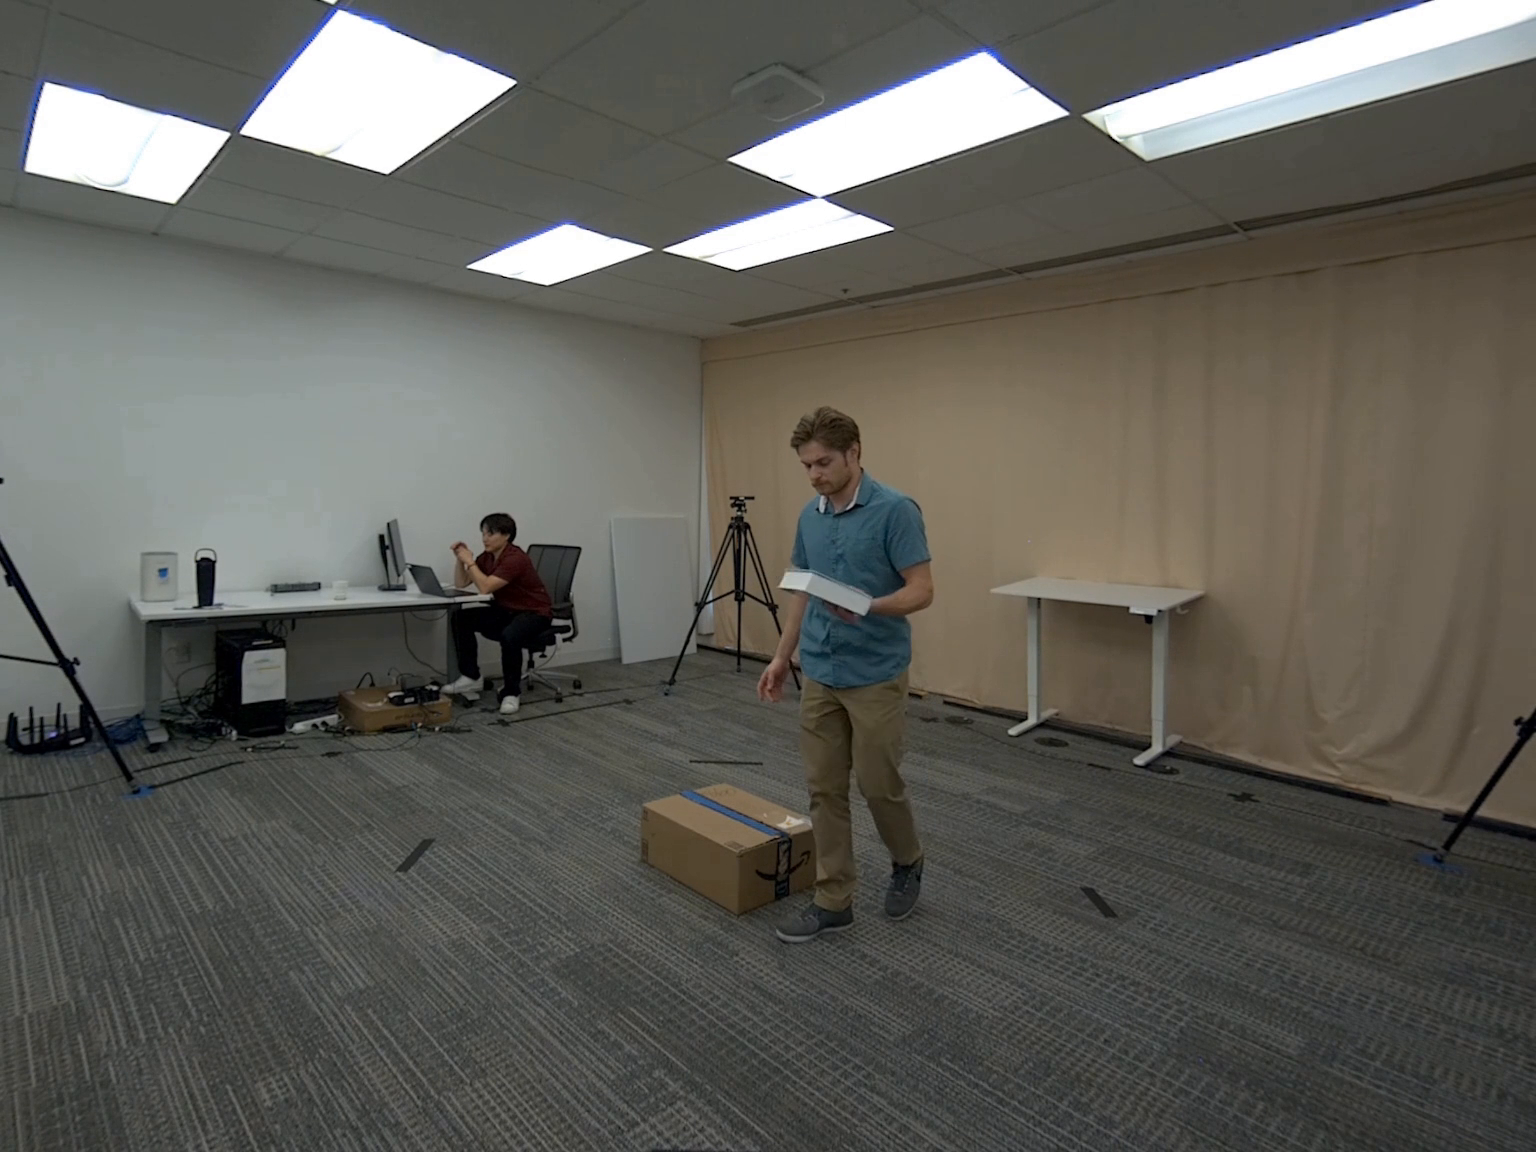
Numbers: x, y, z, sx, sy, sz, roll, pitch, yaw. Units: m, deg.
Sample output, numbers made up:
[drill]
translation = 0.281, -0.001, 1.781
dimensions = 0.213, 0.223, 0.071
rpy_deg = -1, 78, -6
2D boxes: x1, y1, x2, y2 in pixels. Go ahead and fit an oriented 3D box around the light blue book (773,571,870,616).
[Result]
[light blue book]
translation = 0.142, 0.049, 2.368
dimensions = 0.189, 0.059, 0.263
rpy_deg = 23, -5, -11
